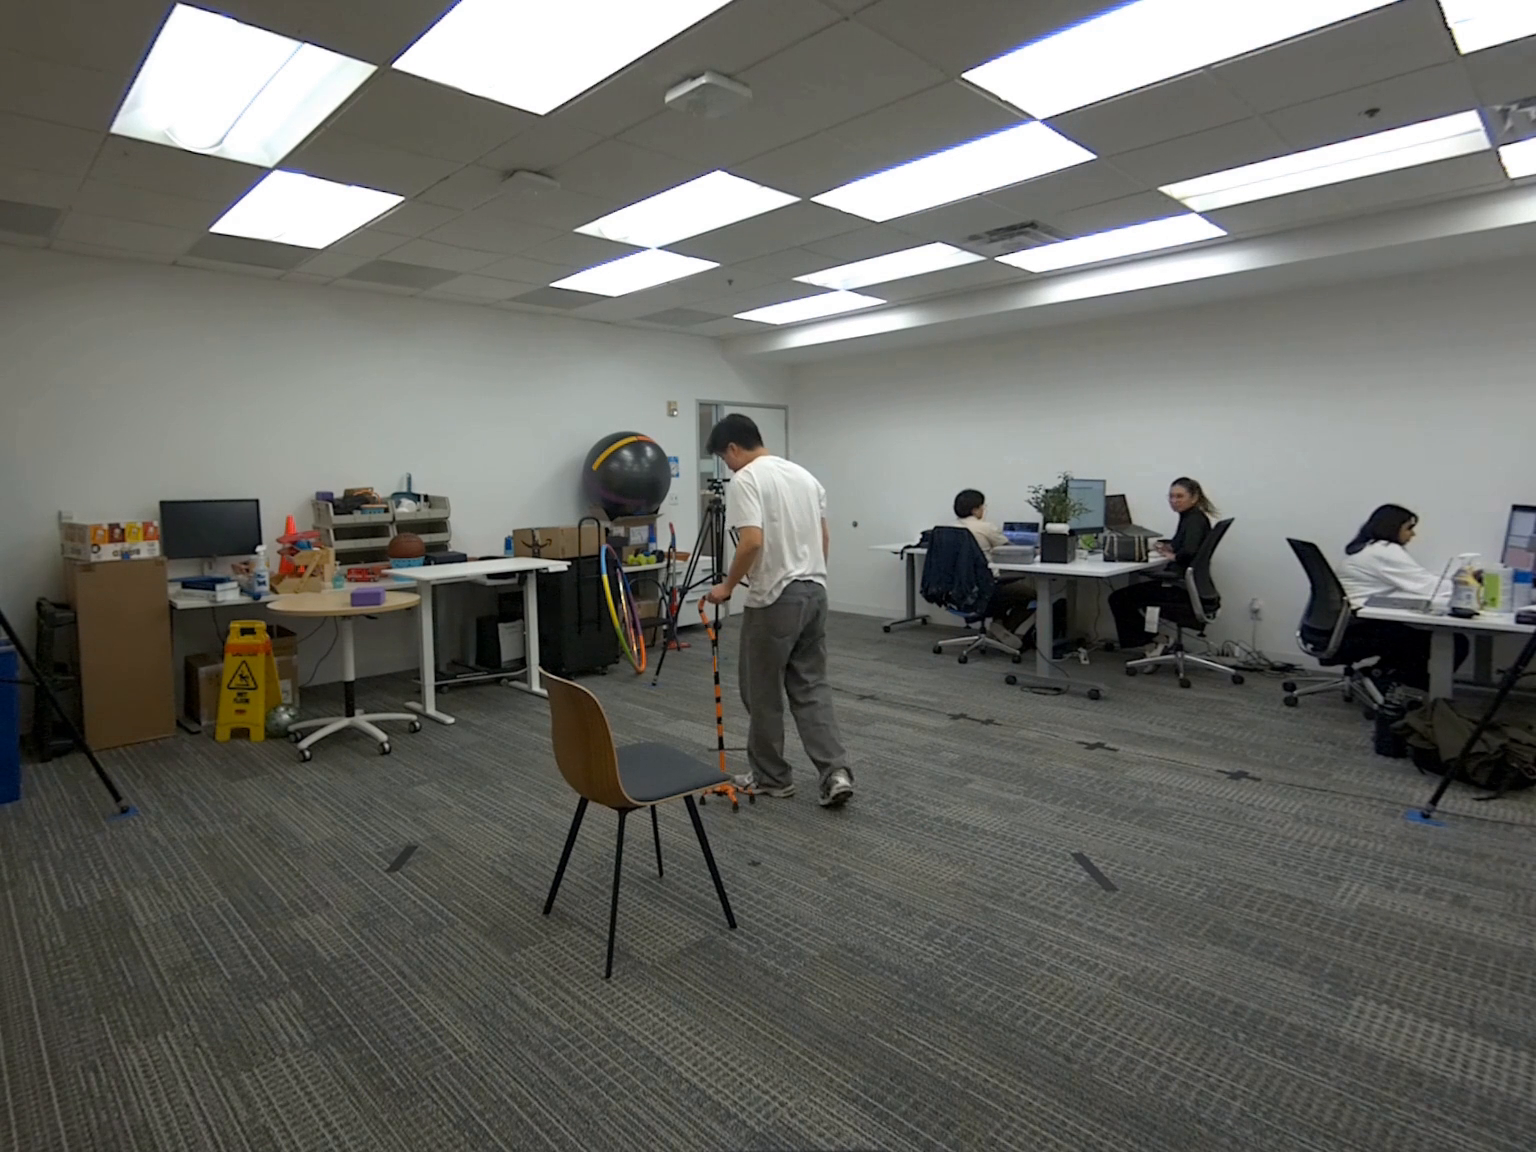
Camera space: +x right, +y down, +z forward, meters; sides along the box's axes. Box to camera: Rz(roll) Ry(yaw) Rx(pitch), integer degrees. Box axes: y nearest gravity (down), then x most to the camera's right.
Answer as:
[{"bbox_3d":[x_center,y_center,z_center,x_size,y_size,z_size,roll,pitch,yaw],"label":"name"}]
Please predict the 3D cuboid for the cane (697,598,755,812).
[{"bbox_3d":[-0.206,0.524,3.673,0.212,0.905,0.148,-1,4,42],"label":"cane"}]
